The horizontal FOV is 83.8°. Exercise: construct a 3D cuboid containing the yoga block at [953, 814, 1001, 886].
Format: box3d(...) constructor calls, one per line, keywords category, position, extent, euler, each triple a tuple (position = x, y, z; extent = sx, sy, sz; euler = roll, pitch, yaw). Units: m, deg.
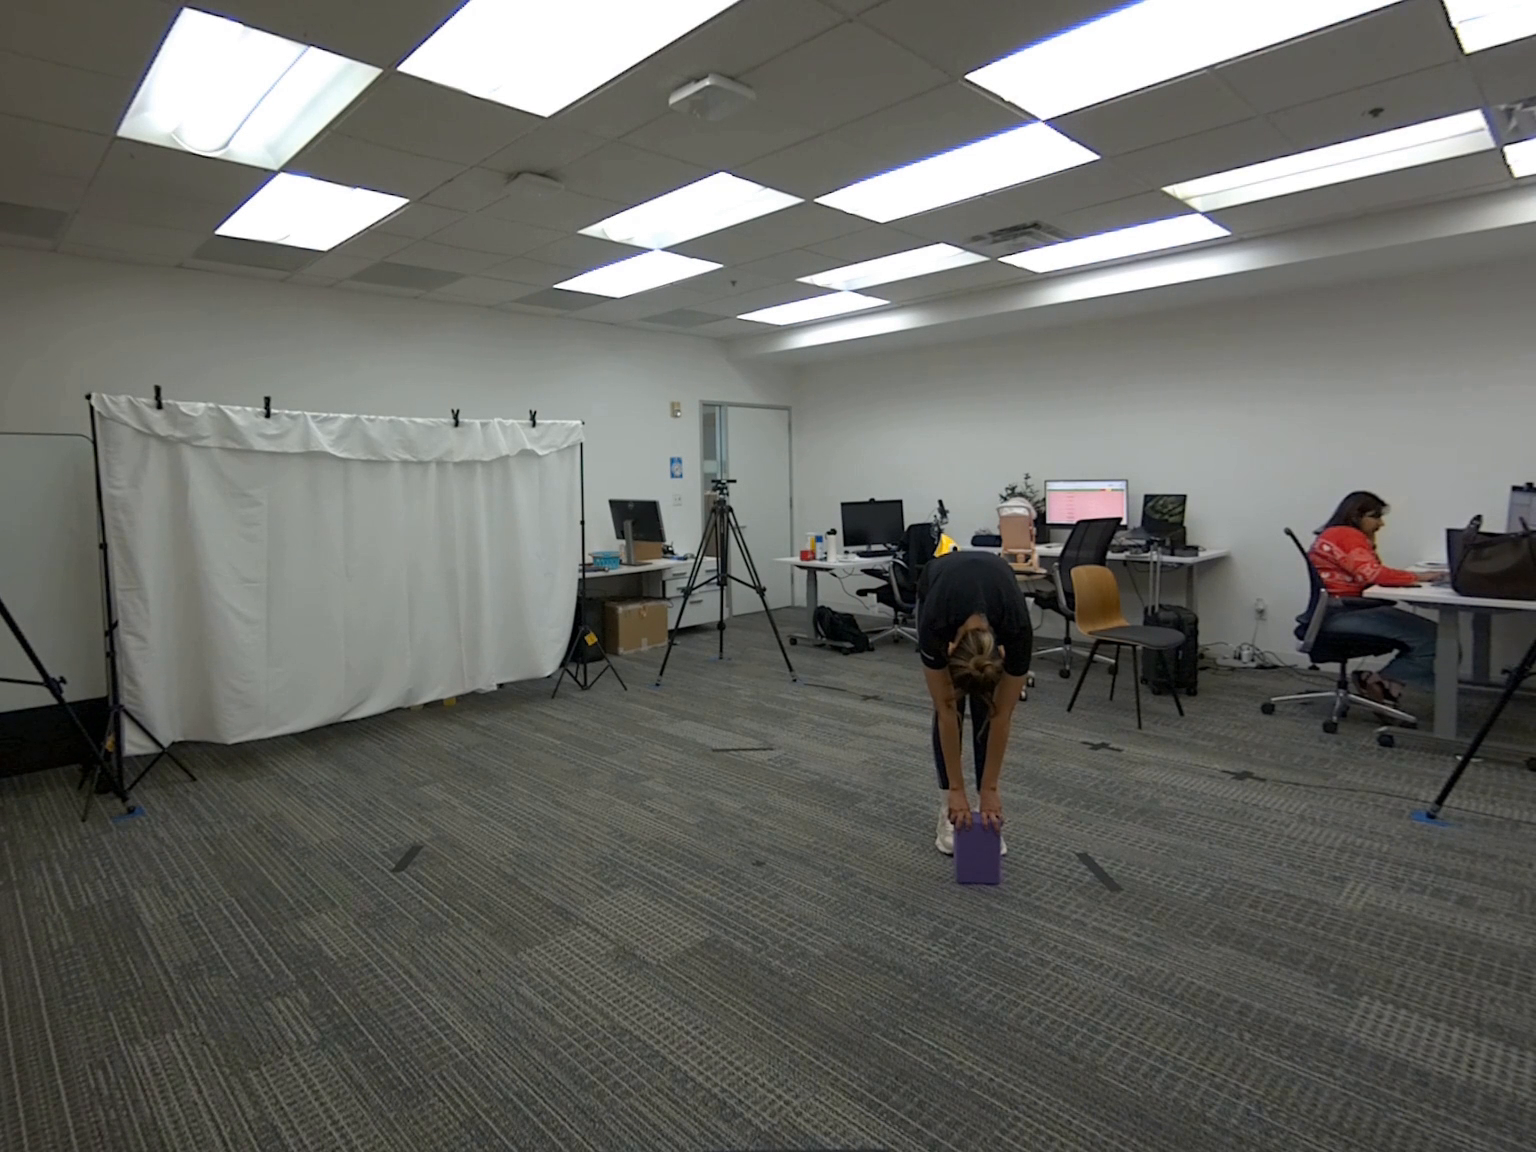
box3d(category="yoga block", position=(0.724, 0.946, 2.941), extent=(0.149, 0.228, 0.076), euler=(-2, 3, 4))
